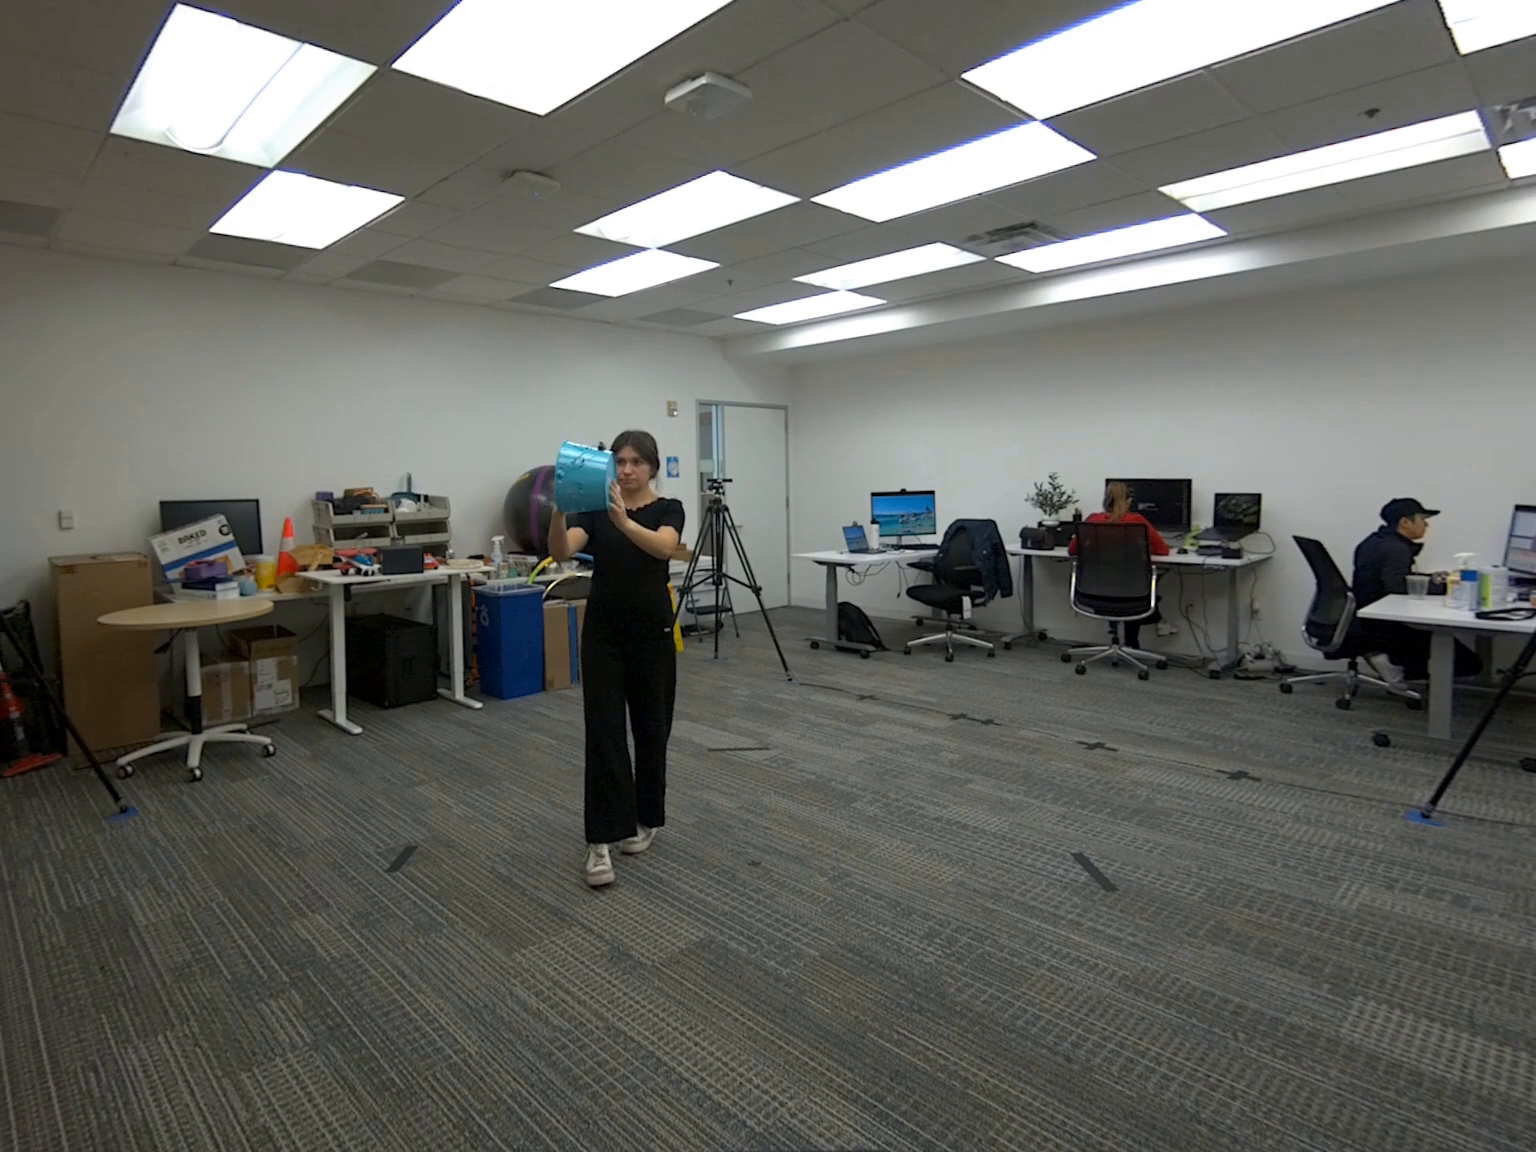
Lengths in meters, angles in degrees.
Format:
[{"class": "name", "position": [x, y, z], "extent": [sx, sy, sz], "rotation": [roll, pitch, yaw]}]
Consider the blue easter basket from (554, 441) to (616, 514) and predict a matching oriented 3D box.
[{"class": "blue easter basket", "position": [-0.587, -0.308, 2.685], "extent": [0.156, 0.243, 0.244], "rotation": [5, 5, -1]}]
